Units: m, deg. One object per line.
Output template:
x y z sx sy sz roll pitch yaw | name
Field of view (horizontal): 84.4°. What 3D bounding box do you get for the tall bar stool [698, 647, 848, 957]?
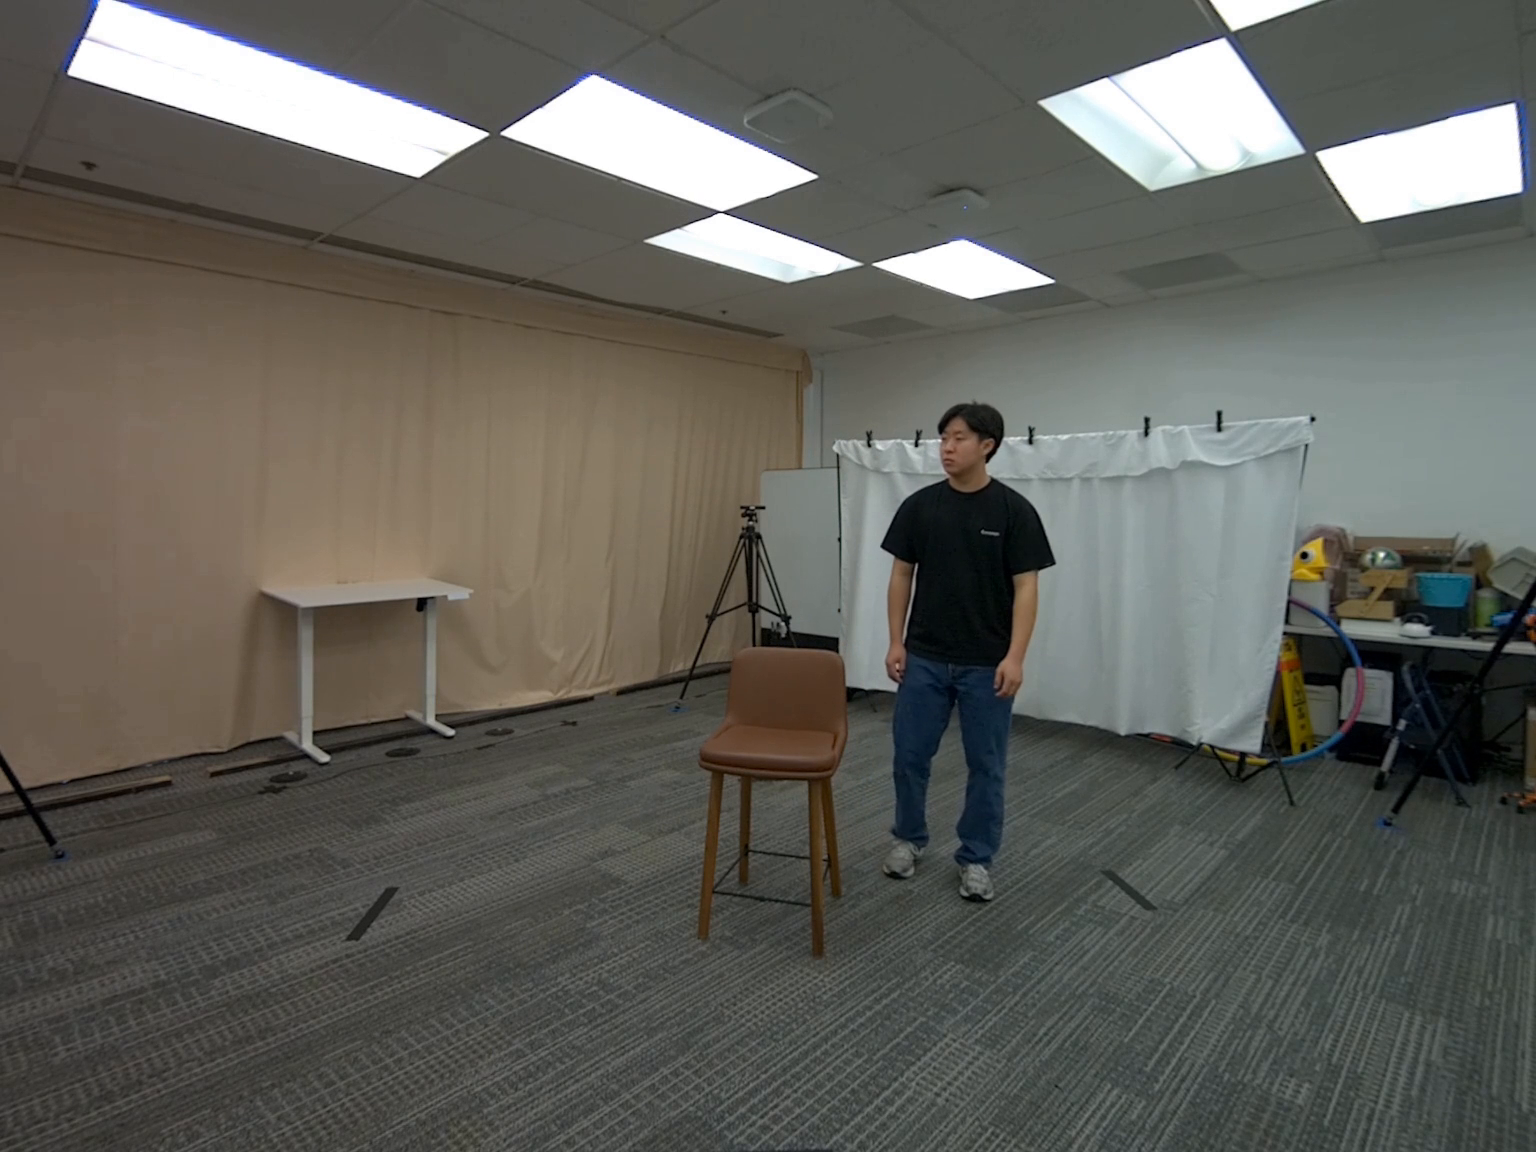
0.033 0.724 2.841 0.466 0.888 0.459 1 2 18 | tall bar stool
